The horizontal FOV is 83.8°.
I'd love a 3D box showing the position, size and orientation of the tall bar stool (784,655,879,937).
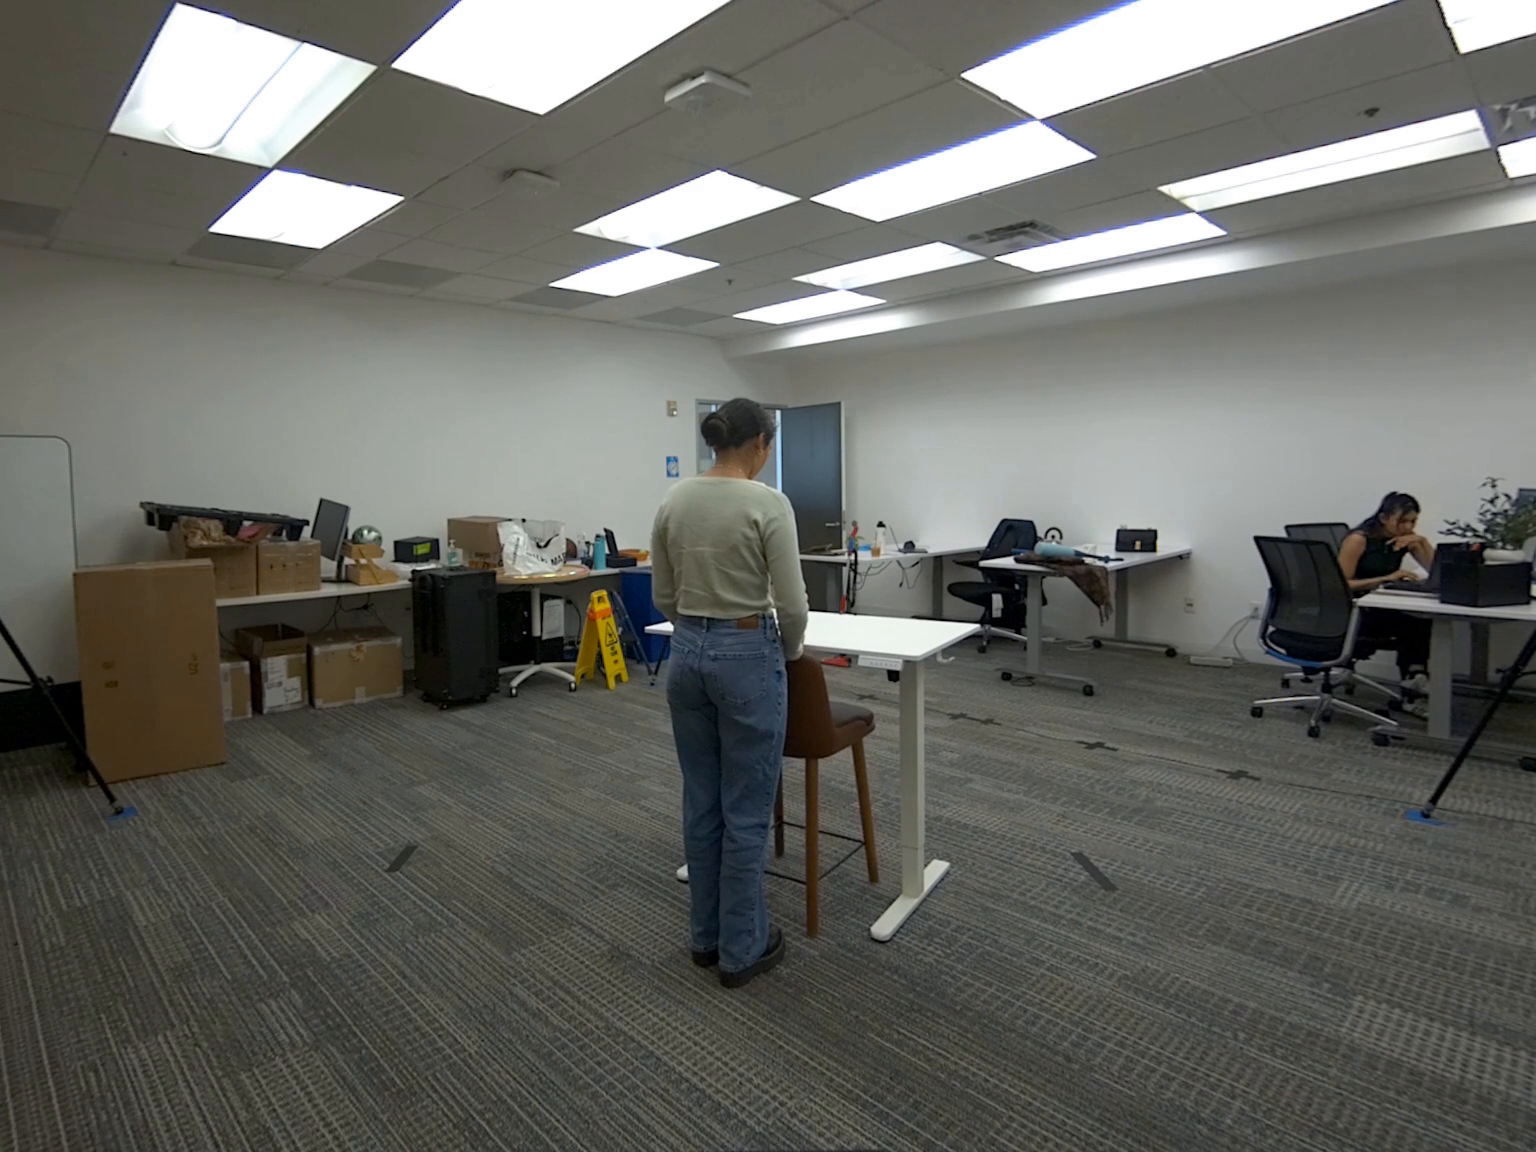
[{"bbox_3d":[0.090,0.643,2.841,0.469,0.884,0.458,2,8,32],"label":"tall bar stool"}]
